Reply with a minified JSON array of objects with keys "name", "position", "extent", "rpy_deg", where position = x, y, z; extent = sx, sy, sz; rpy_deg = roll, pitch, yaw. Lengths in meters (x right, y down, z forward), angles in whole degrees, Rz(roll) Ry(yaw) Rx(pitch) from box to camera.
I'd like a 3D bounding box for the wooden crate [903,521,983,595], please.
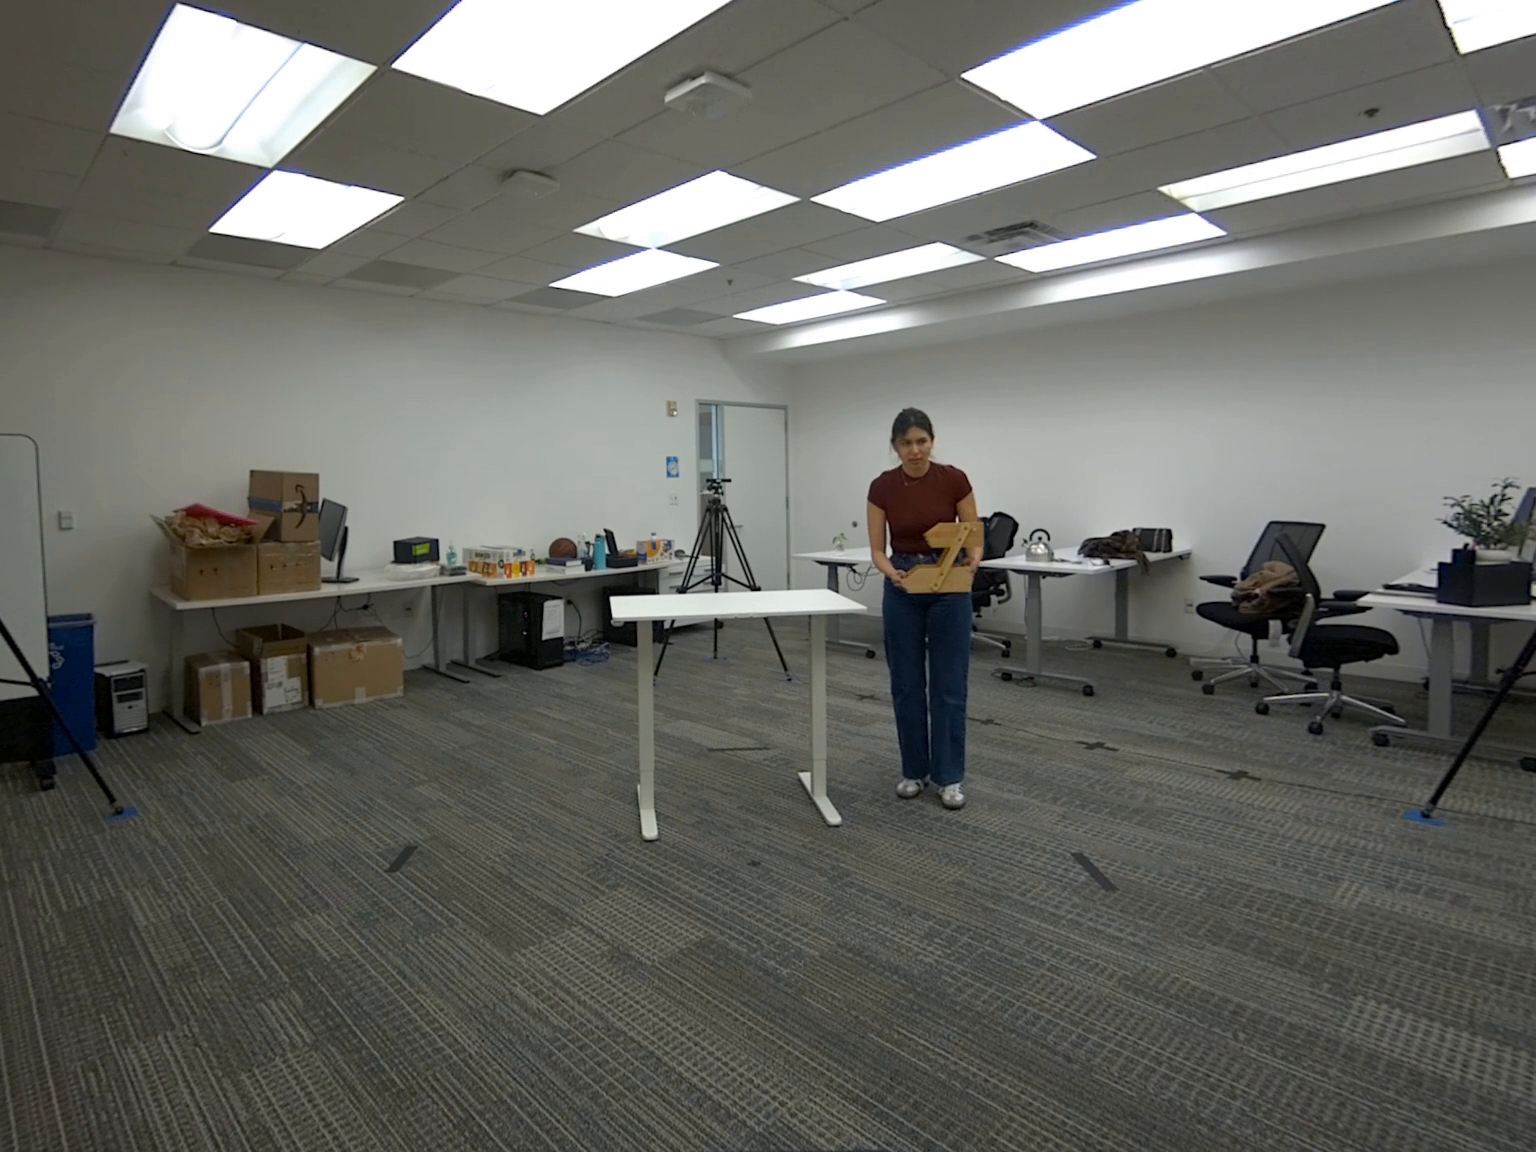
[{"name":"wooden crate","position":[0.674,-0.080,3.378],"extent":[0.305,0.273,0.321],"rpy_deg":[-2,2,11]}]
